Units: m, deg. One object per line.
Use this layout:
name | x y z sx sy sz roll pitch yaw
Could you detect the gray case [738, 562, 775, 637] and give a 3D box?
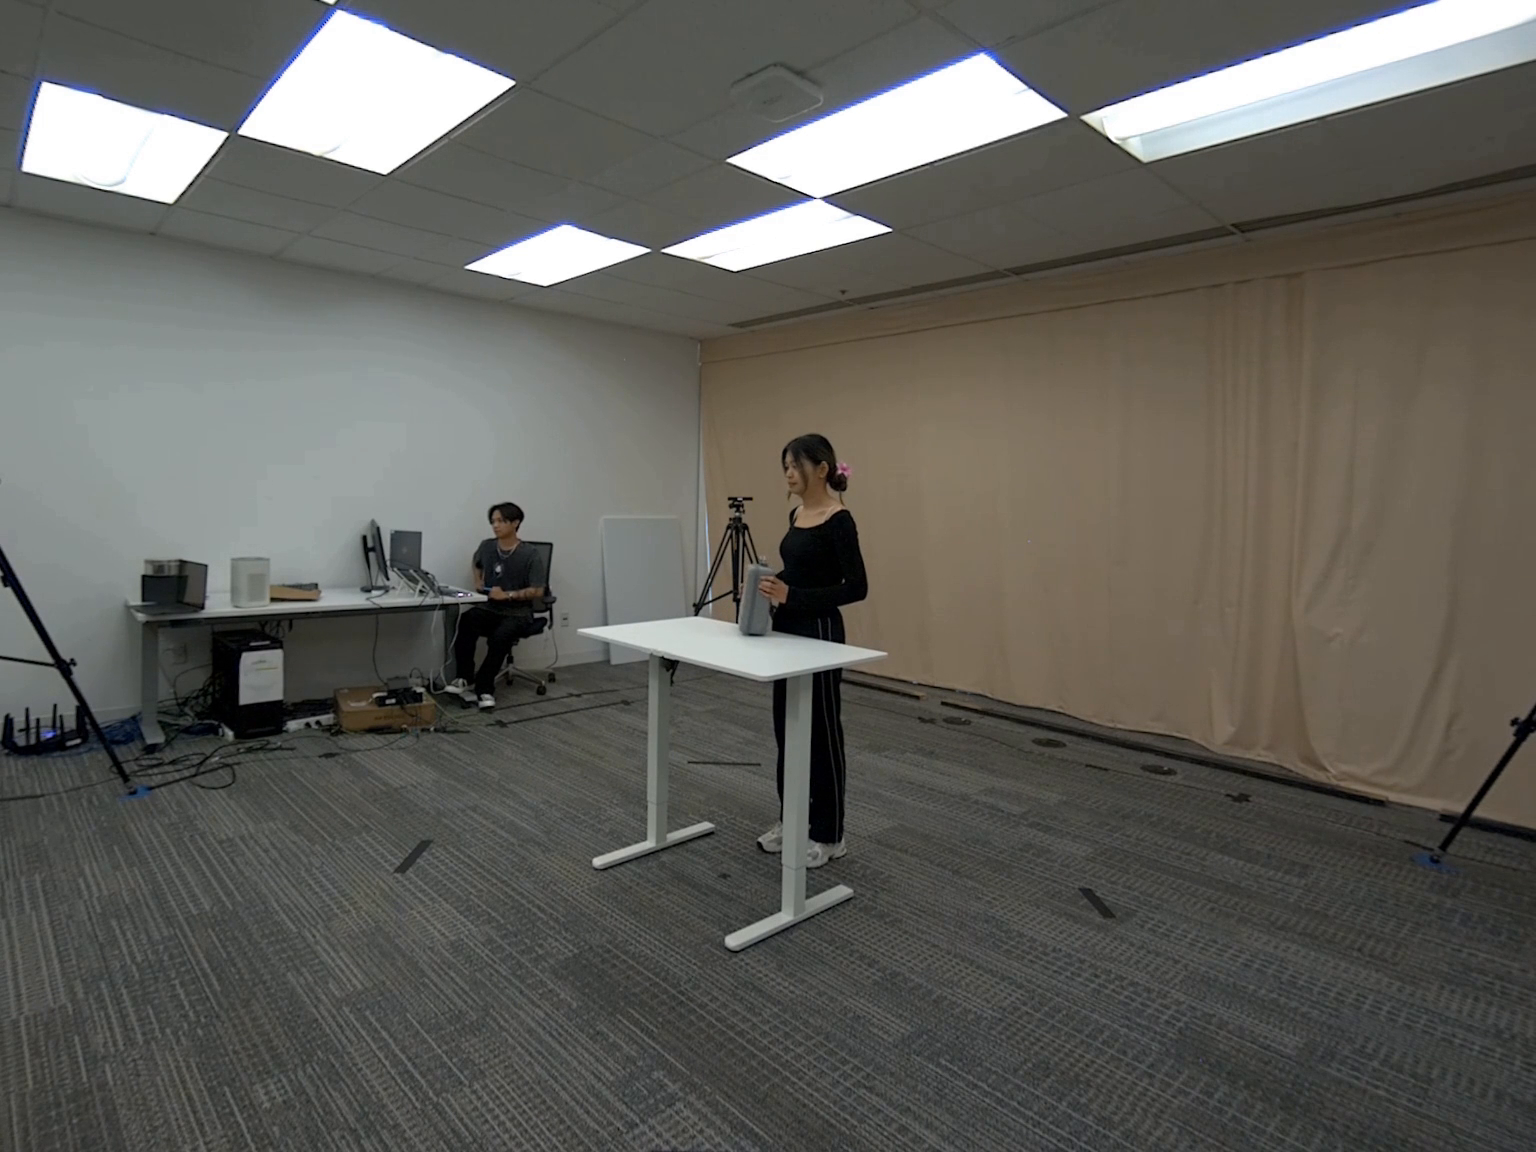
gray case | -0.055 0.082 3.222 0.104 0.259 0.259 5 6 -5
